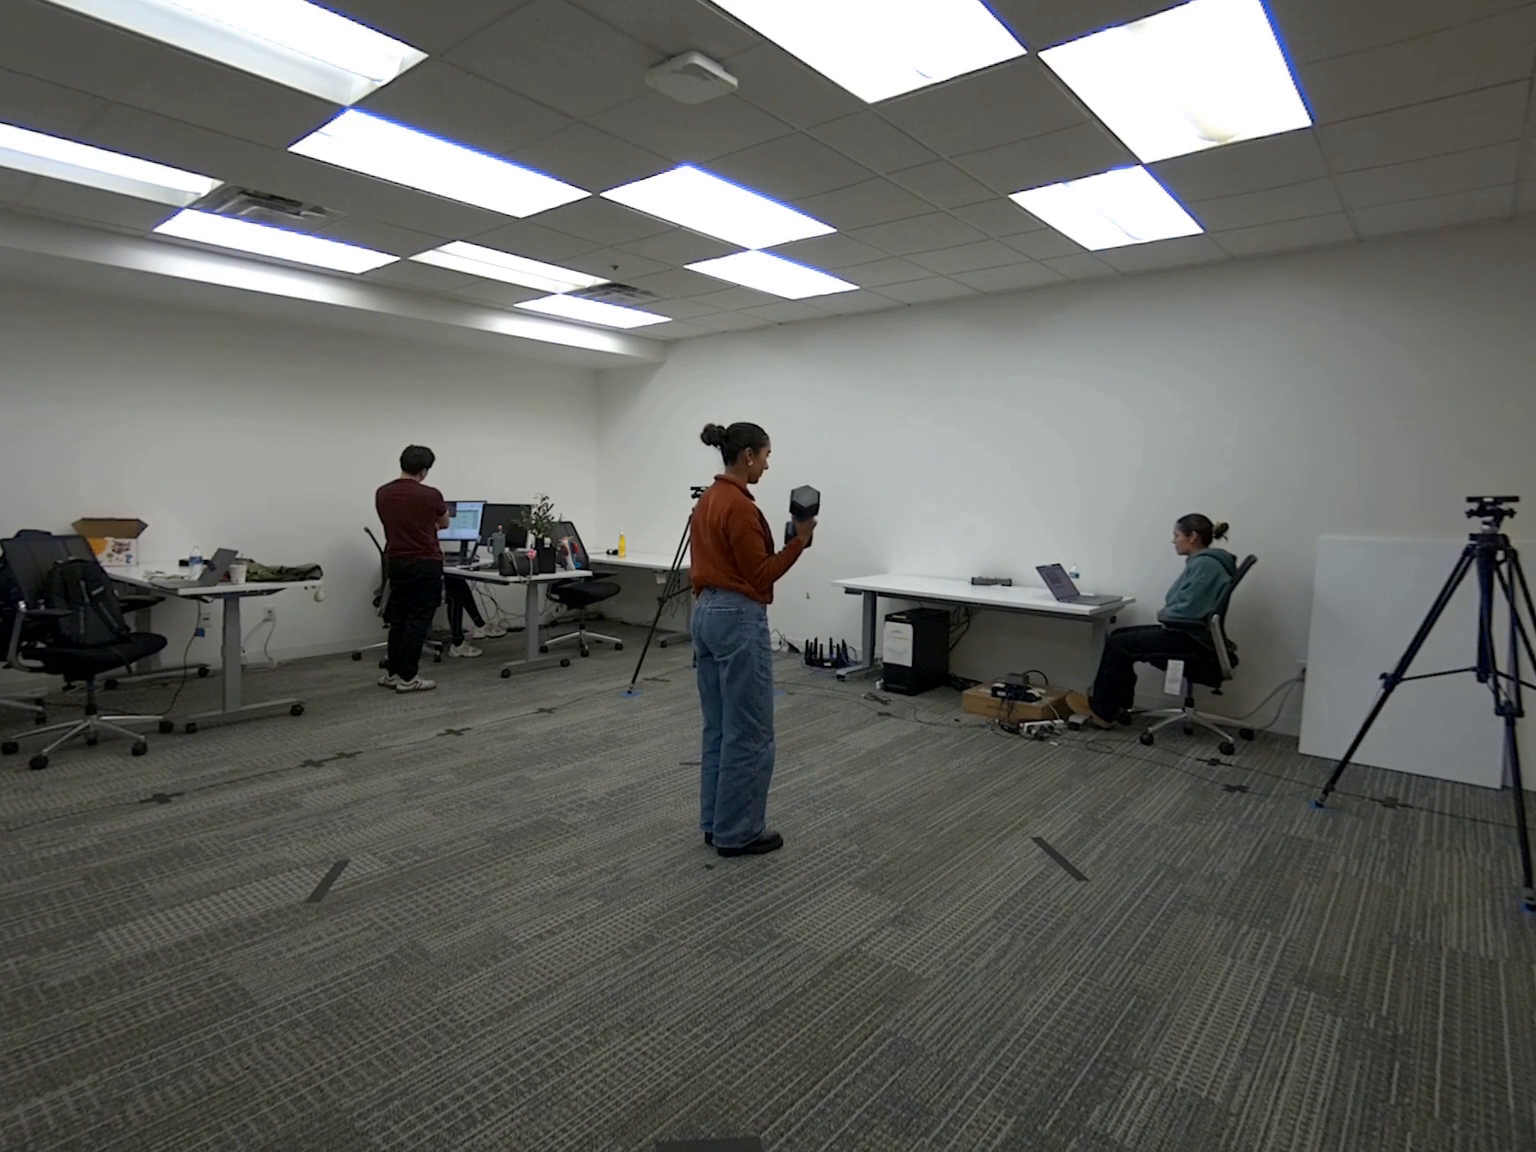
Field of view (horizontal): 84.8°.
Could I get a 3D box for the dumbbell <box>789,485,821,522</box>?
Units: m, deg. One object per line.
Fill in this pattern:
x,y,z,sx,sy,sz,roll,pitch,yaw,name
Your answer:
0.113,-0.214,3.196,0.109,0.125,0.286,7,-32,2,dumbbell
